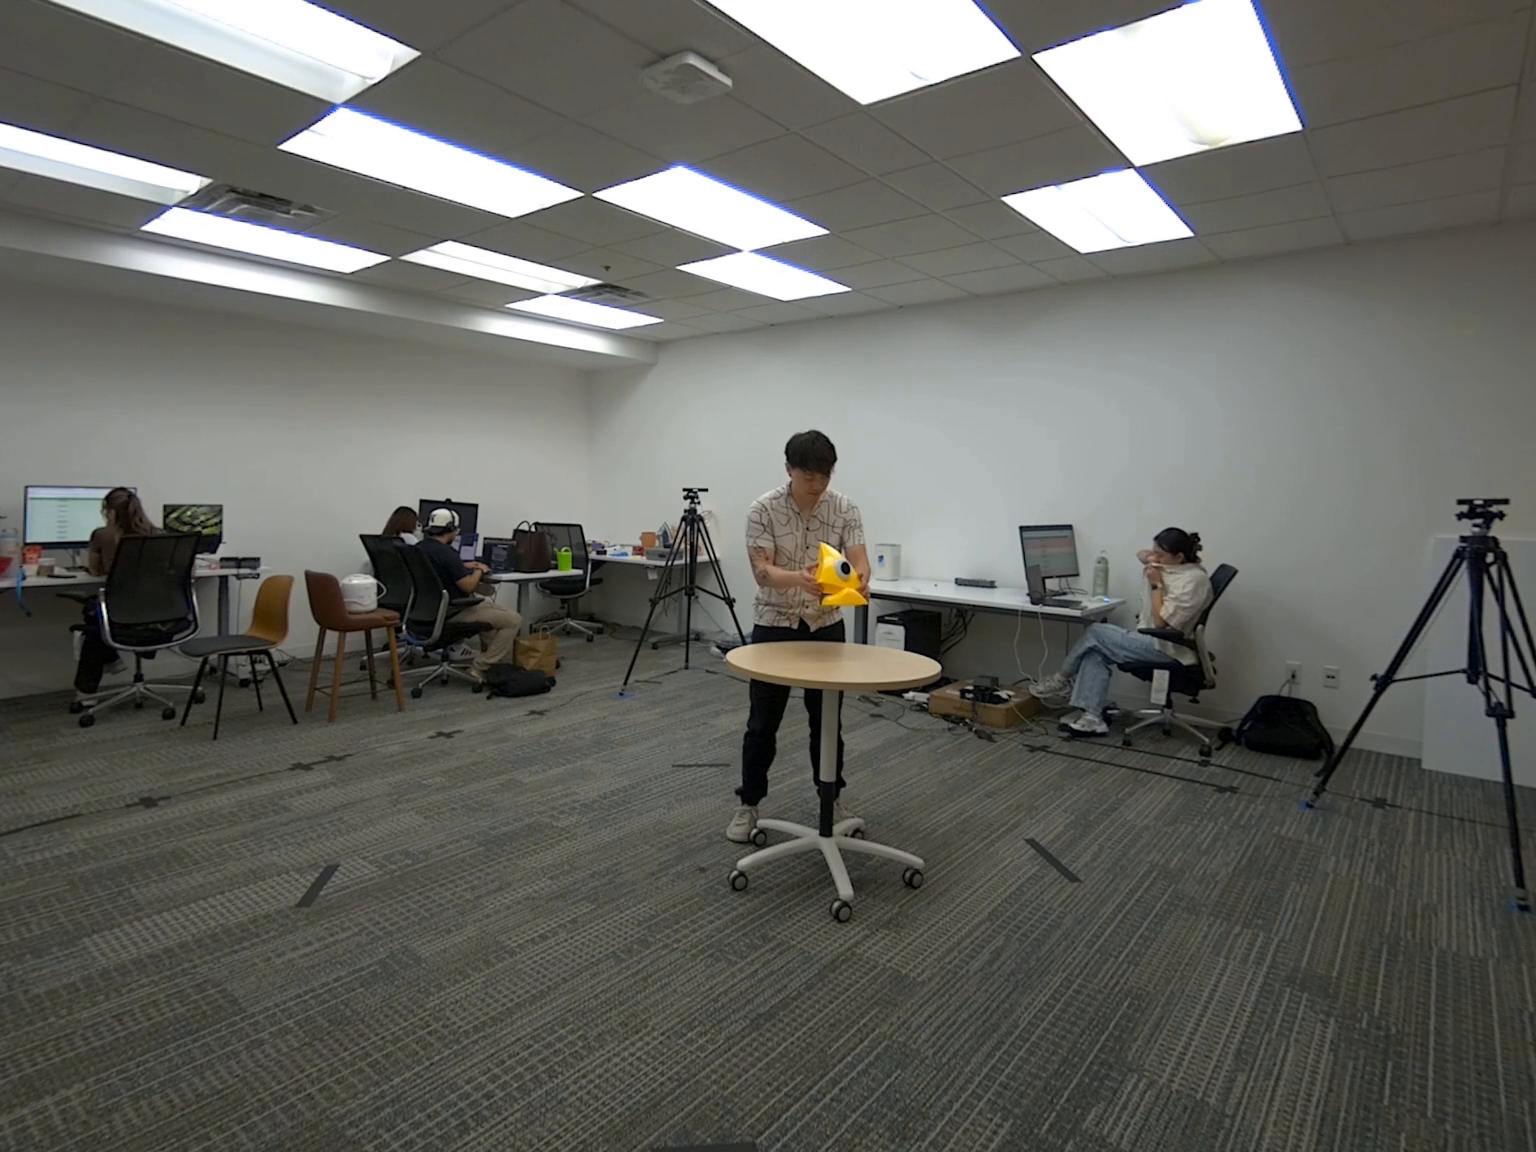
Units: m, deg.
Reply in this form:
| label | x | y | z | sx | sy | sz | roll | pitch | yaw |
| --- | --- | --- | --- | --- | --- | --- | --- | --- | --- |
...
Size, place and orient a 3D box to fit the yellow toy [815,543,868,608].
| label | x | y | z | sx | sy | sz | roll | pitch | yaw |
| --- | --- | --- | --- | --- | --- | --- | --- | --- | --- |
| yellow toy | 0.245 | -0.011 | 3.101 | 0.191 | 0.232 | 0.205 | -1 | -5 | -8 |
